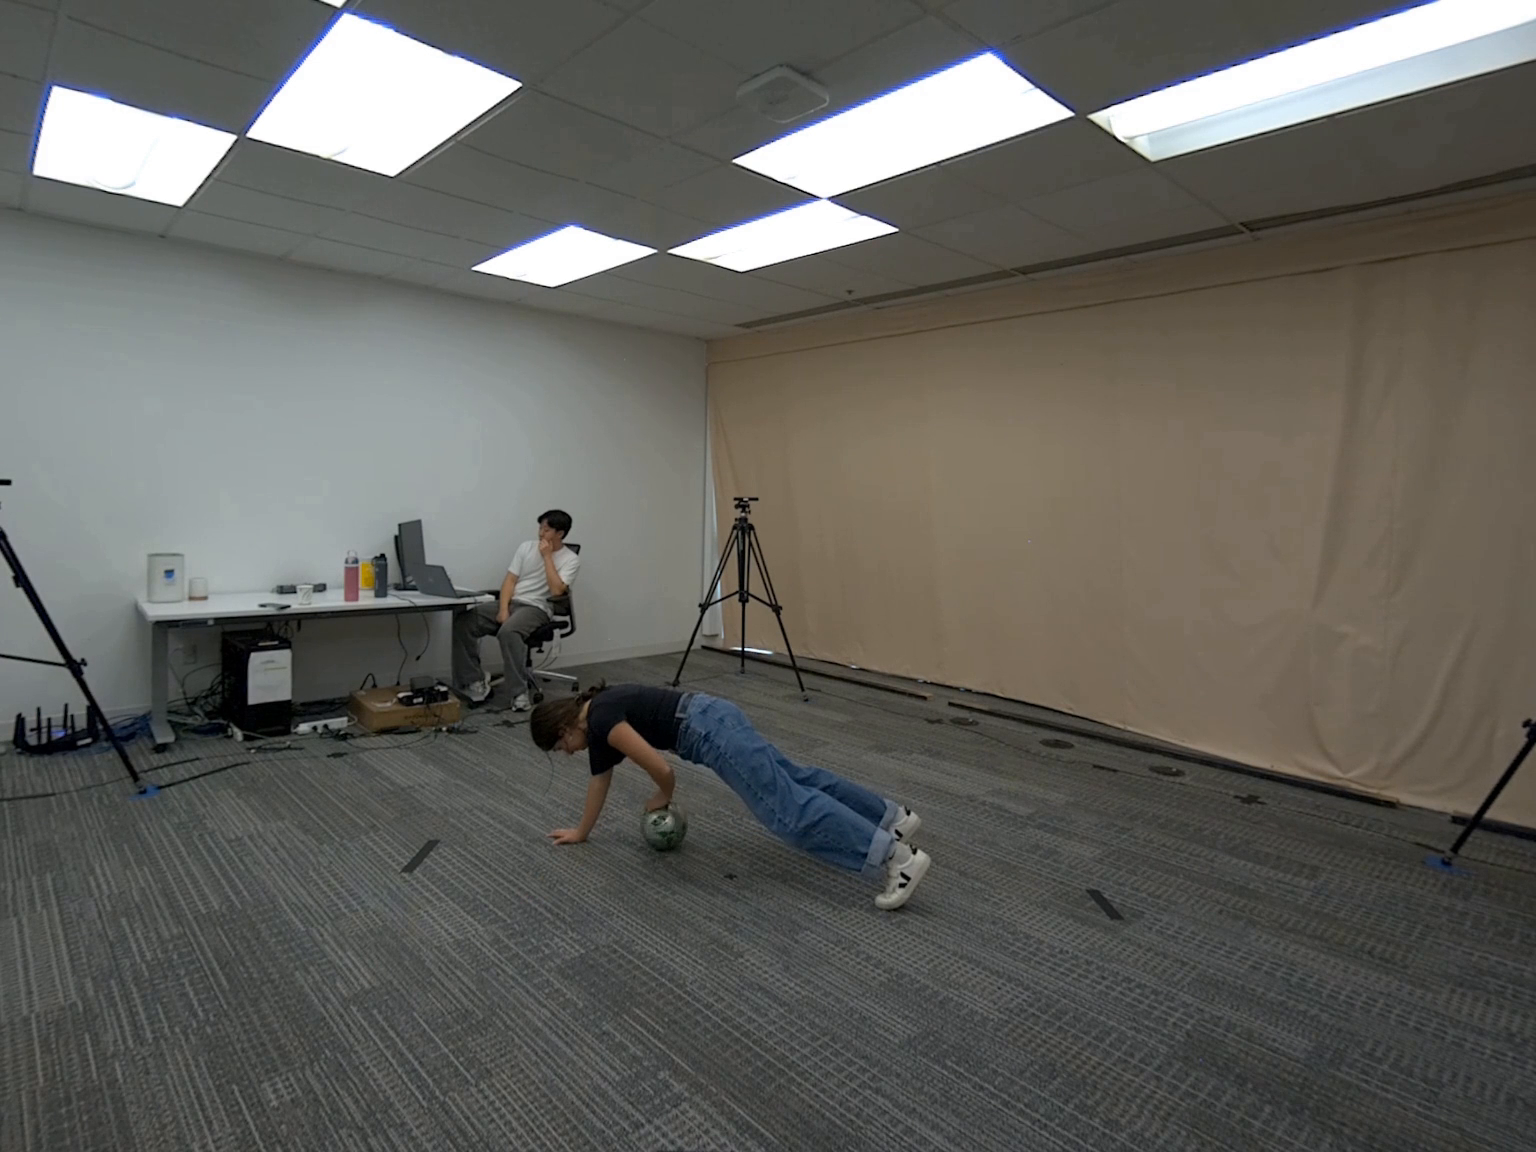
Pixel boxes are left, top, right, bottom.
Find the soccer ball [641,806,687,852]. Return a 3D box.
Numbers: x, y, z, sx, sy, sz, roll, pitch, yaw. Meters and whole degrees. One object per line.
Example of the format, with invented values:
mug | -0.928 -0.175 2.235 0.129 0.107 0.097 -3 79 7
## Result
soccer ball | -0.420 0.987 3.329 0.187 0.187 0.188 1 4 -1
